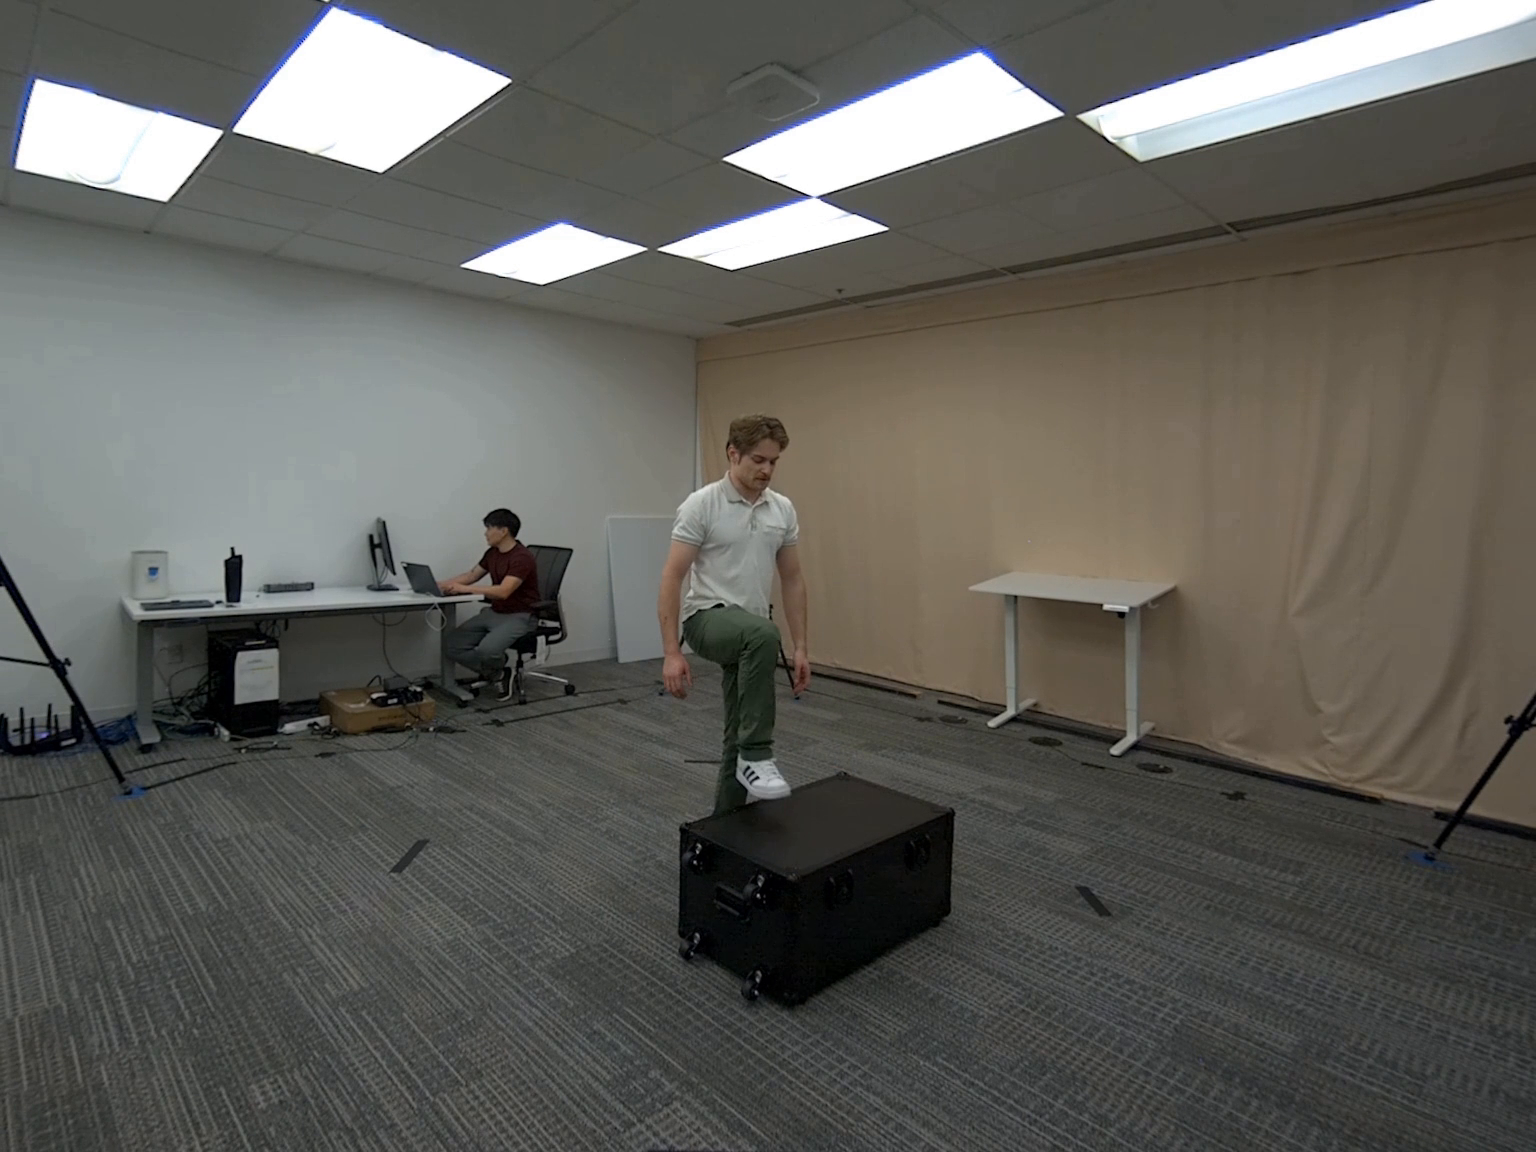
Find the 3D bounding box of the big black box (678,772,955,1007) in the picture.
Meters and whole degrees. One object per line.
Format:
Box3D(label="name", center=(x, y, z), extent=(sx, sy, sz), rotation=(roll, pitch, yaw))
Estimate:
Box3D(label="big black box", center=(0.133, 0.954, 2.677), extent=(0.849, 0.384, 0.537), rotation=(-4, 8, -44))
